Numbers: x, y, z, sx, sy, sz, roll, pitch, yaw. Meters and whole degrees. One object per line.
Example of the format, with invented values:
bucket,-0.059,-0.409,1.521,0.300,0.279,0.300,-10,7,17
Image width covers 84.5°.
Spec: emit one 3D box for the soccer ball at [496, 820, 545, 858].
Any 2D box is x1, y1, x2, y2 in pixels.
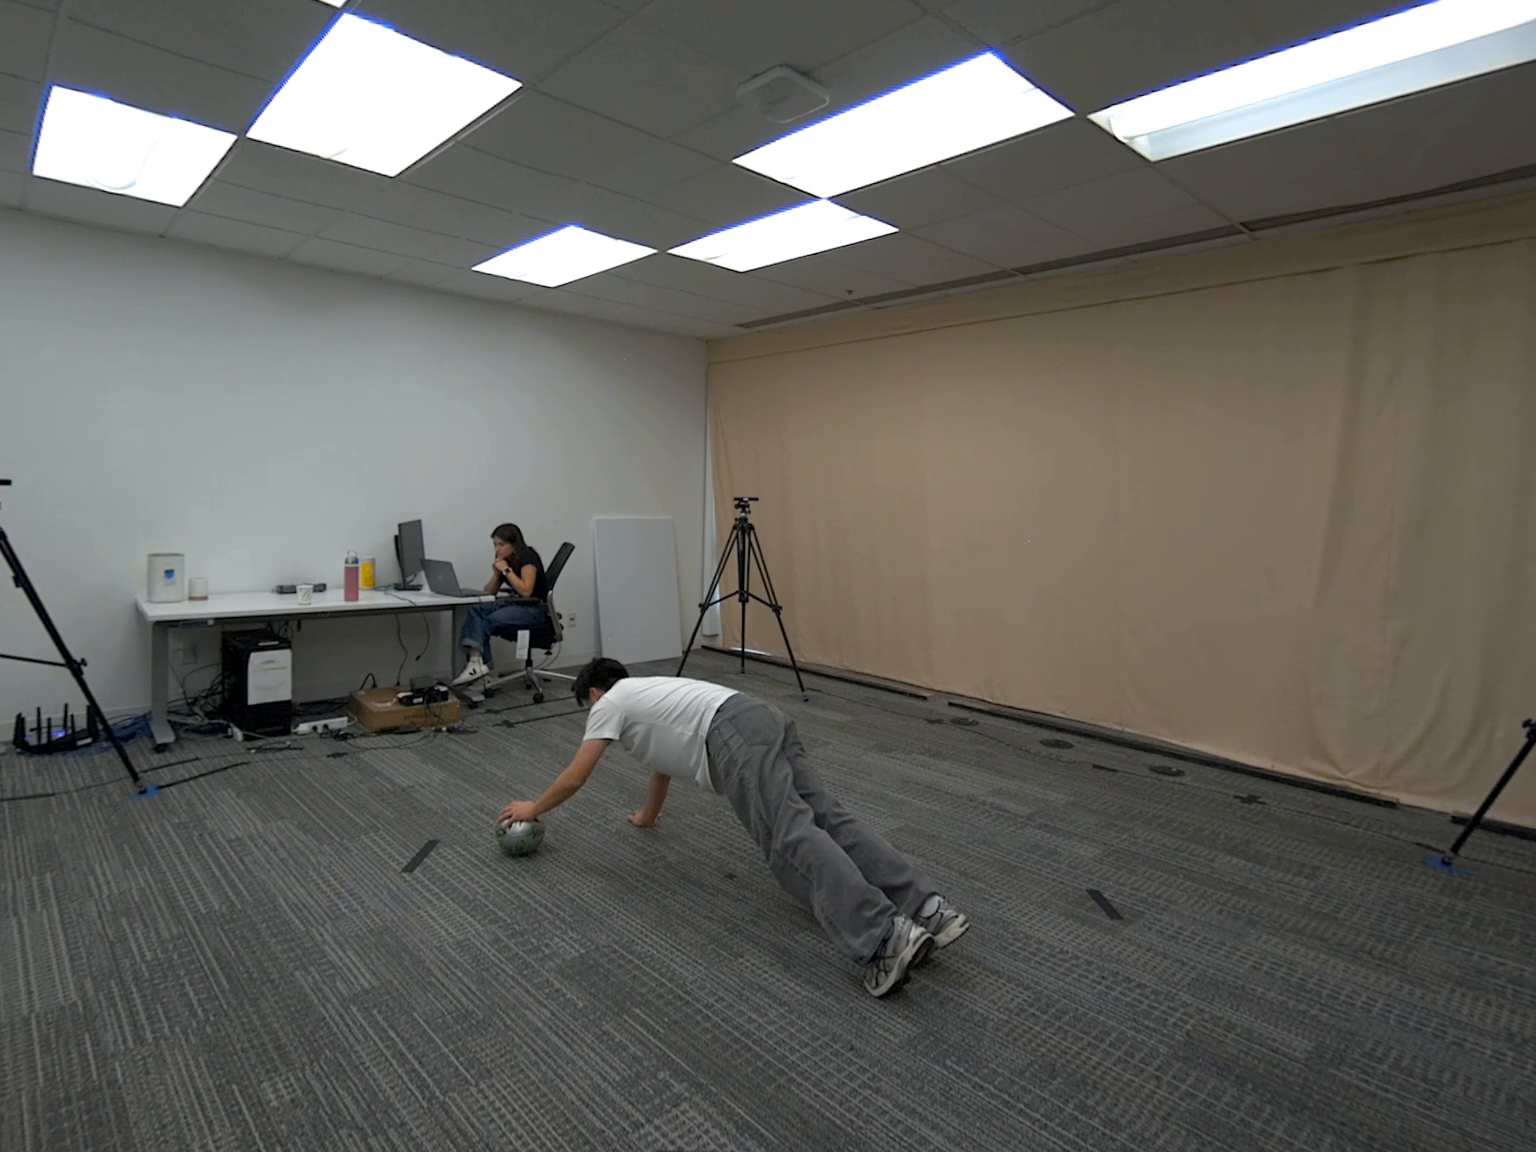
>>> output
soccer ball,-0.955,0.981,3.259,0.187,0.187,0.188,1,4,-1
